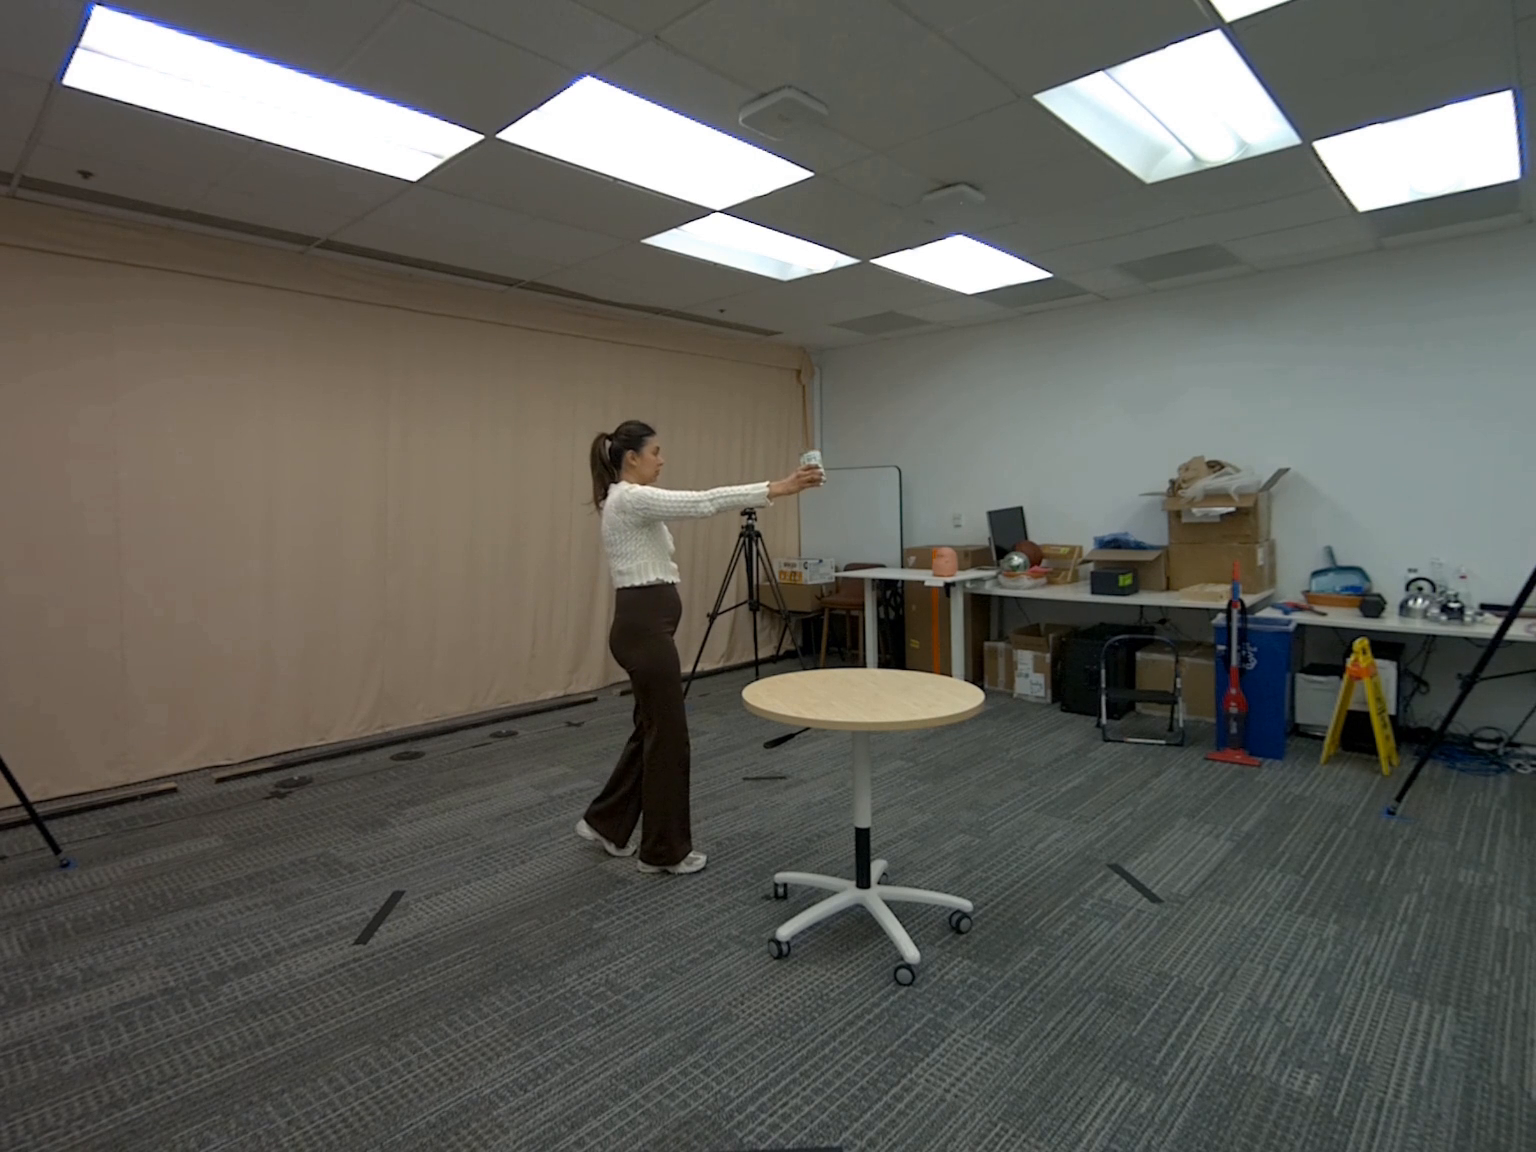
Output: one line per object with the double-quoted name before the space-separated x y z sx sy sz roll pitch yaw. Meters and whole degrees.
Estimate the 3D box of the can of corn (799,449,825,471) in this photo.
"can of corn" 0.148 -0.372 2.899 0.074 0.111 0.074 -10 0 -2
